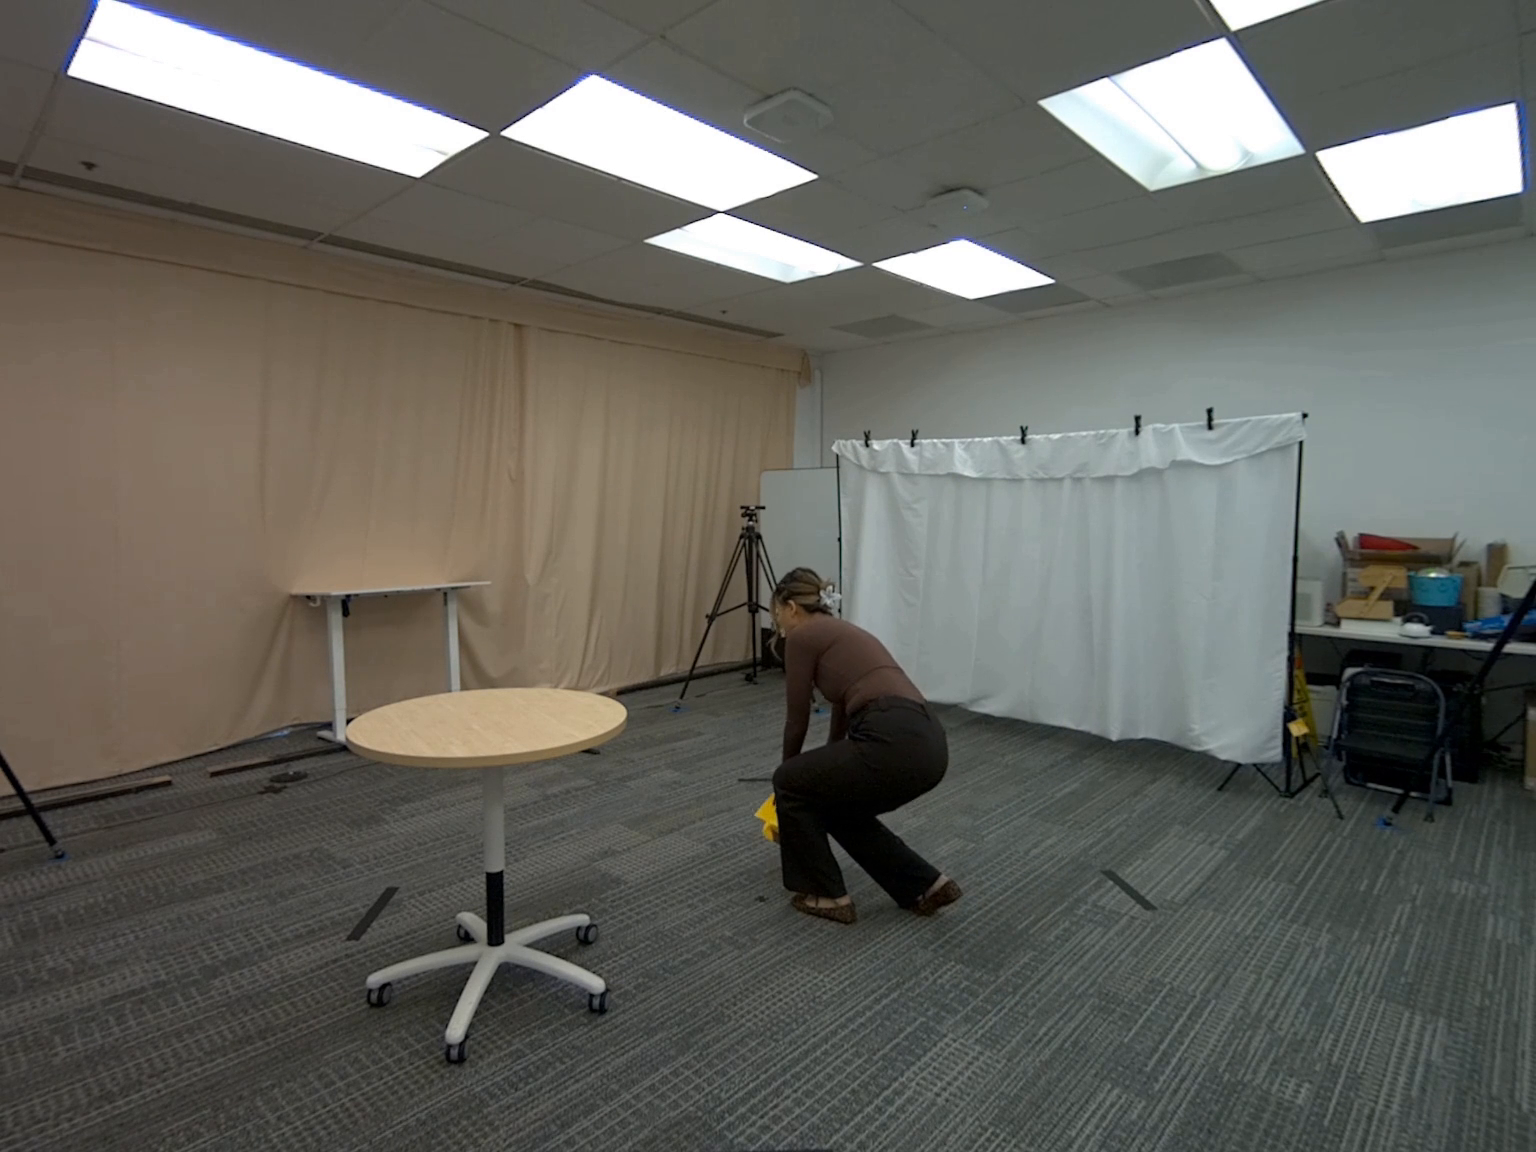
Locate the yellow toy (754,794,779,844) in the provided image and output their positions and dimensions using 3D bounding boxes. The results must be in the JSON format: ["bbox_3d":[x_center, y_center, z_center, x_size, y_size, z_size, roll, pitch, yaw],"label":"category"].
[{"bbox_3d":[0.096,0.868,3.167,0.212,0.229,0.187,12,12,36],"label":"yellow toy"}]
